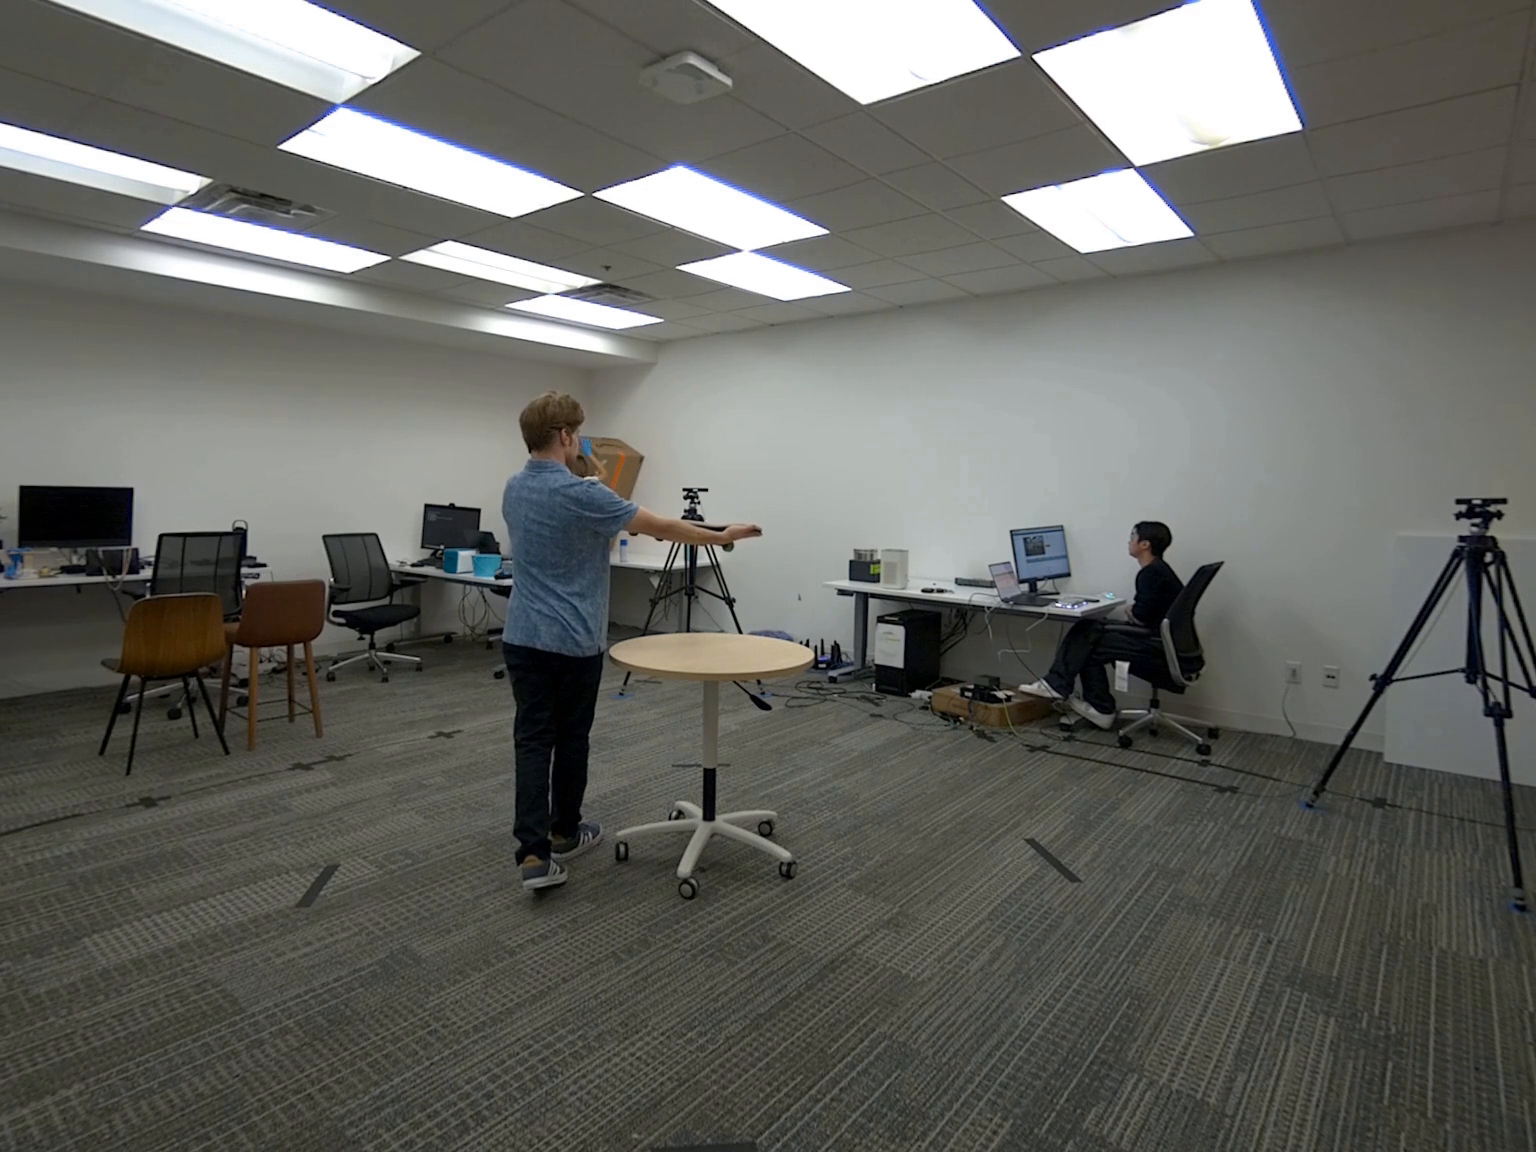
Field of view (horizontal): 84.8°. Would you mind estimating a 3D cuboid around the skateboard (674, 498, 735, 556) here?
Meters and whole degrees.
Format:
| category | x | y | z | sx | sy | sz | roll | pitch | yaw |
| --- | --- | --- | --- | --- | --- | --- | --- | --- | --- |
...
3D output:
| category | x | y | z | sx | sy | sz | roll | pitch | yaw |
| --- | --- | --- | --- | --- | --- | --- | --- | --- | --- |
| skateboard | -0.374 | -0.185 | 3.451 | 0.814 | 0.110 | 0.186 | 10 | -2 | 42 |
